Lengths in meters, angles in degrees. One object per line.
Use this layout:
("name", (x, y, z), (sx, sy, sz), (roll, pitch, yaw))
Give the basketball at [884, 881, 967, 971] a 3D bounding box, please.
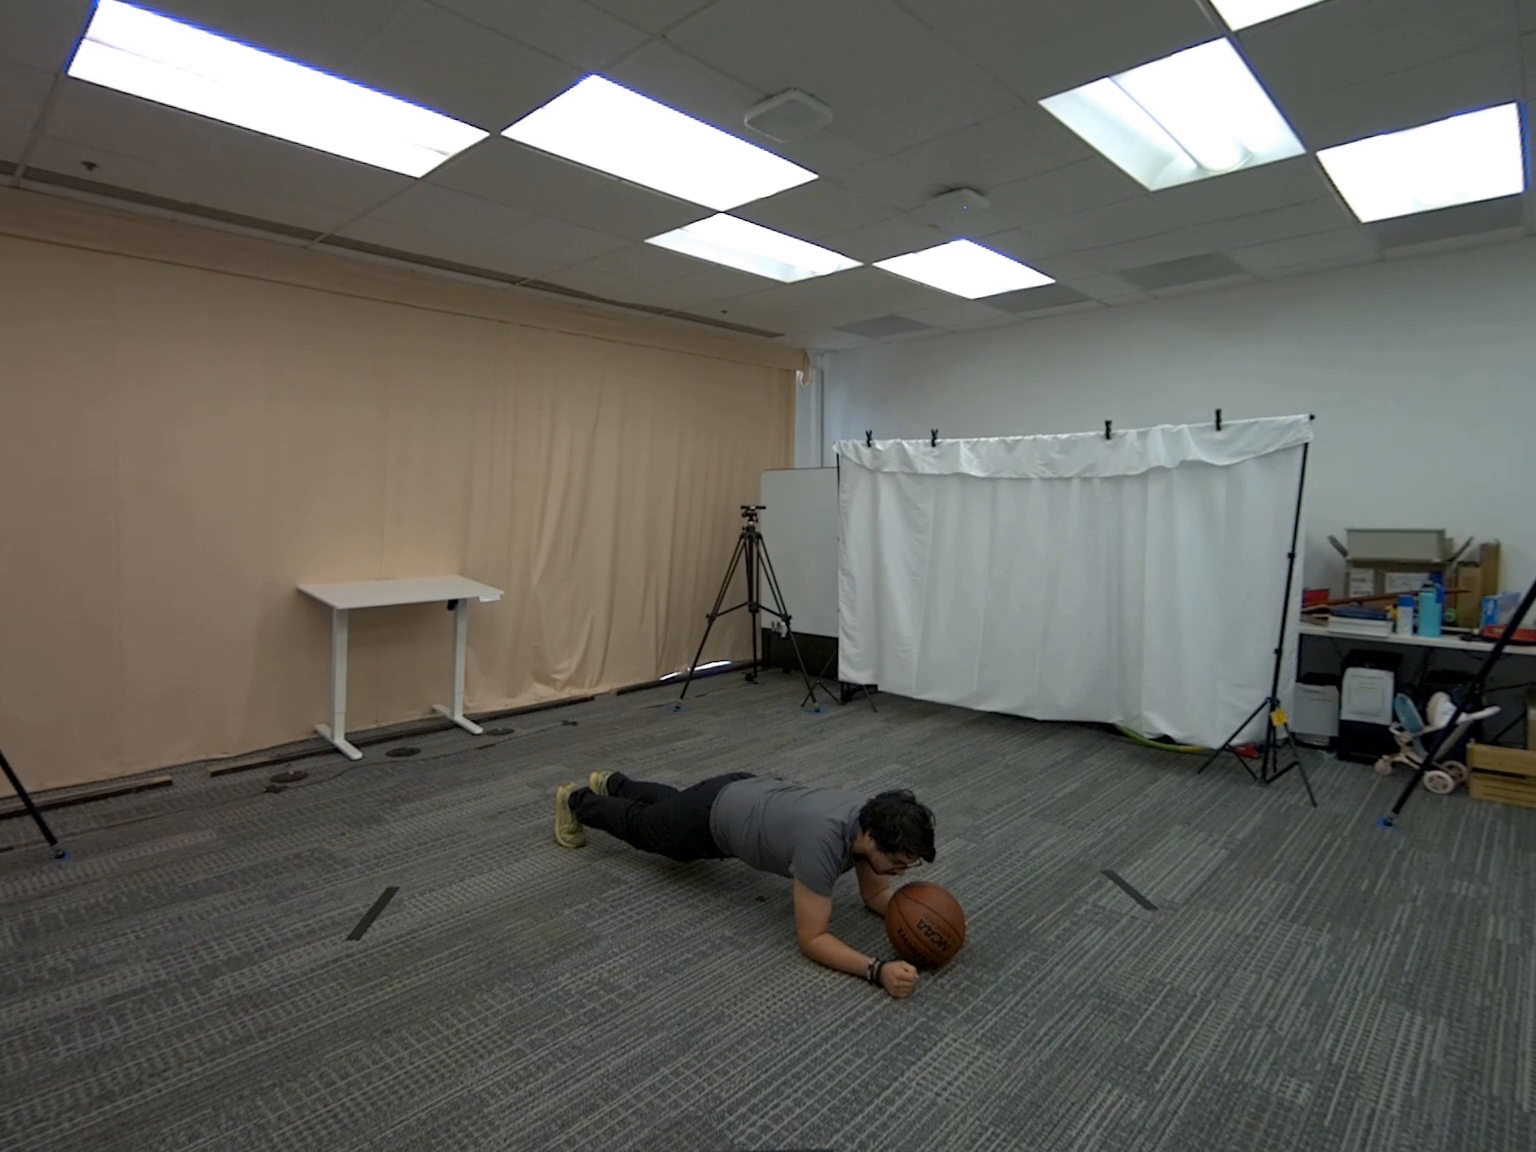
("basketball", (0.488, 1.058, 2.567), (0.236, 0.235, 0.237), (0, 4, -2))
